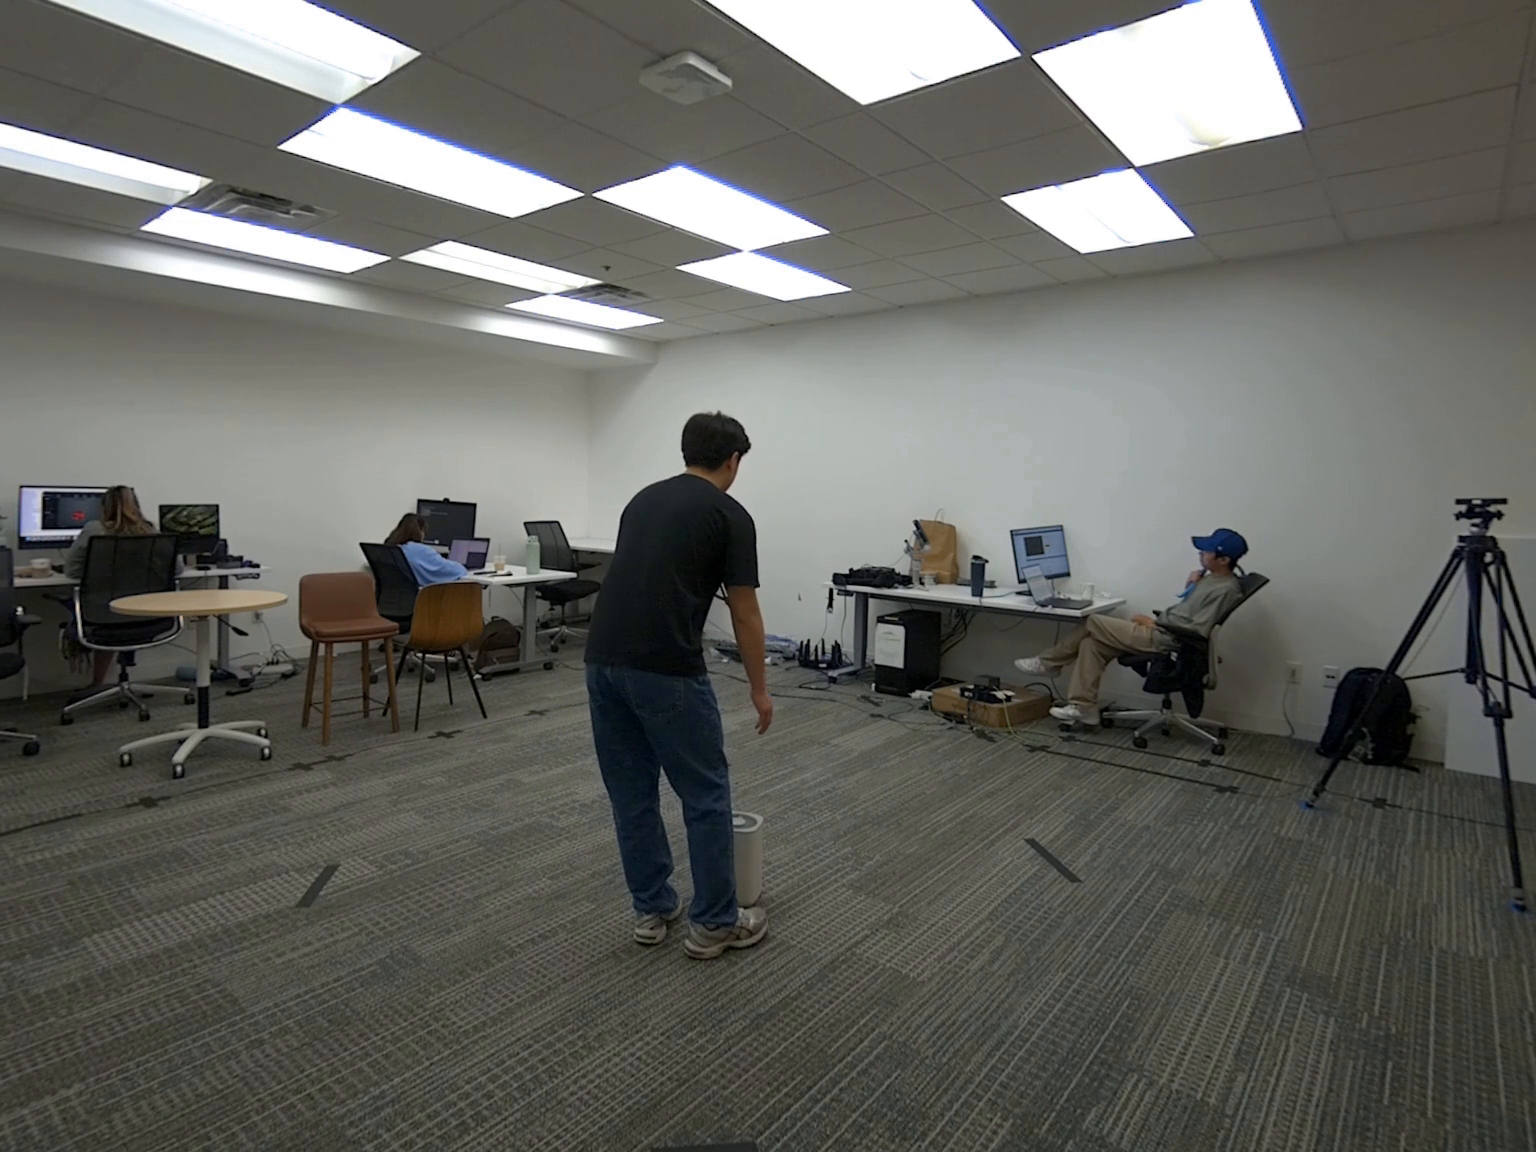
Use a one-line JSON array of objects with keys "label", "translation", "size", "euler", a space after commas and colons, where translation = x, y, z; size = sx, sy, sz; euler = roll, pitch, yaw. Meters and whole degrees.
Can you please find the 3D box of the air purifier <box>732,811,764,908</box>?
[{"label": "air purifier", "translation": [-0.116, 0.957, 2.890], "size": [0.174, 0.264, 0.169], "euler": [2, 3, 14]}]
